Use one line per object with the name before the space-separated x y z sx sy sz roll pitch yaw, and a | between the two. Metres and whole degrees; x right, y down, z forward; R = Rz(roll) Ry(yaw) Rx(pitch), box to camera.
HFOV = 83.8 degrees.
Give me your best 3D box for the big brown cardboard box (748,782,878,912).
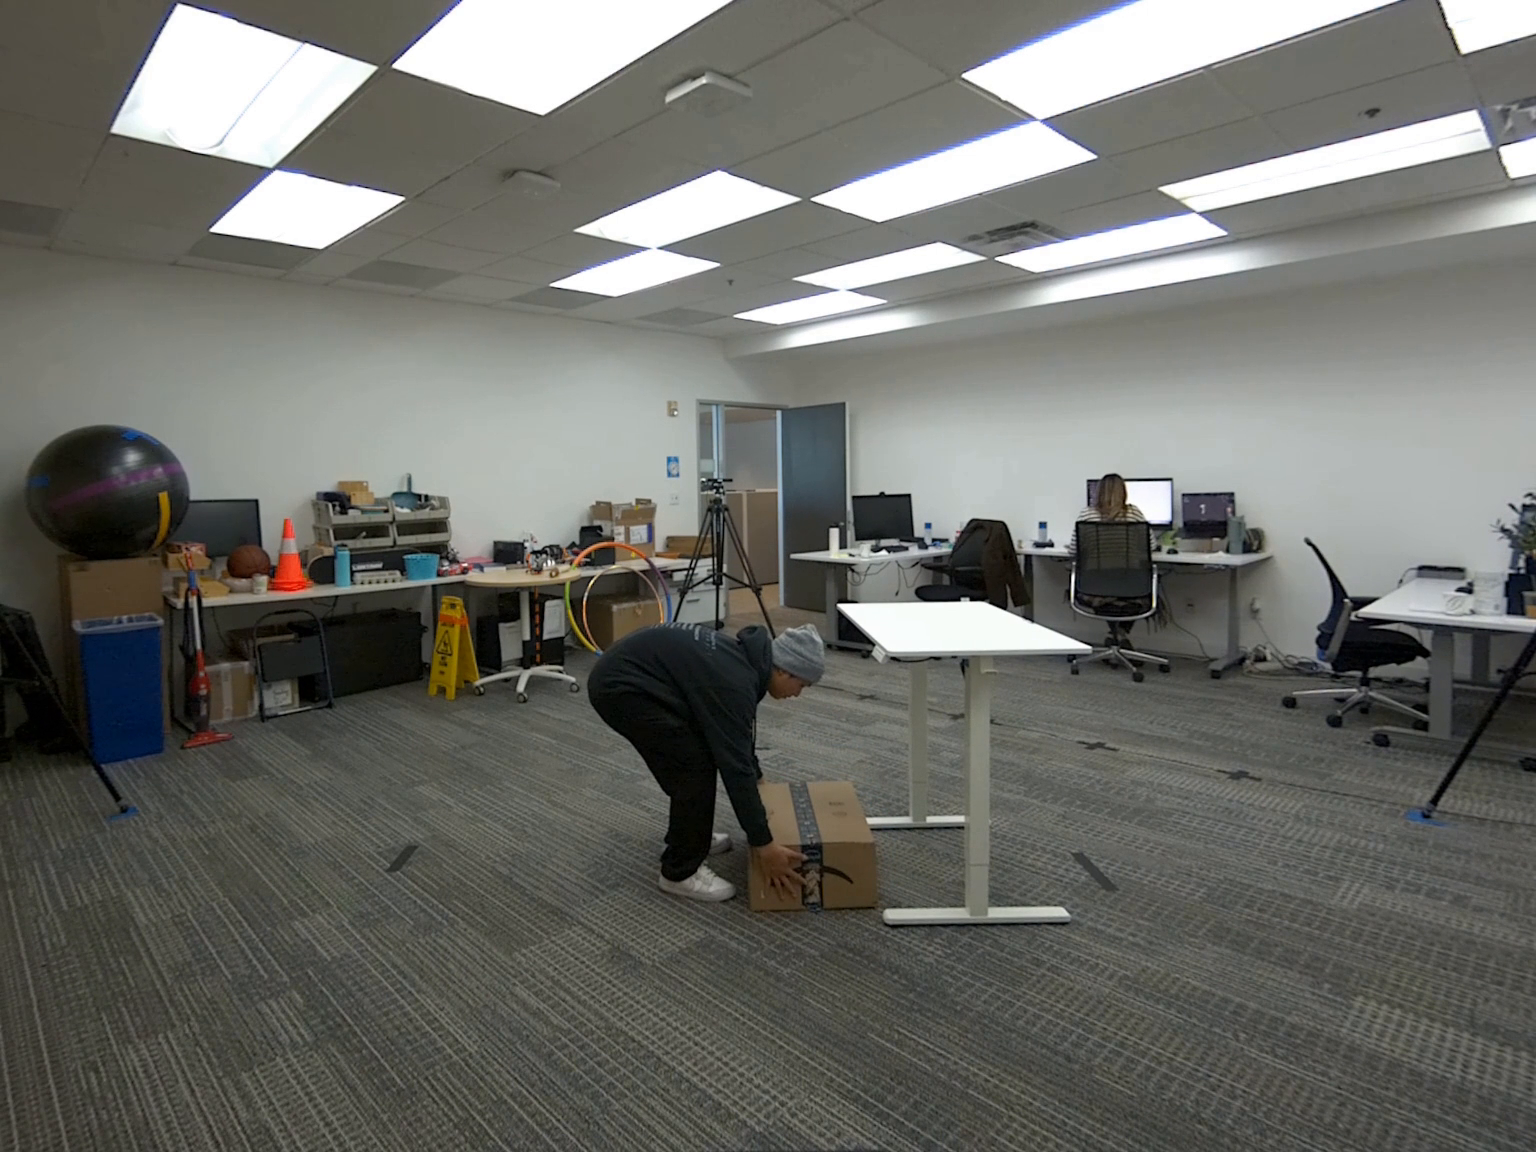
big brown cardboard box | 0.135 0.939 3.029 0.417 0.232 0.593 -2 7 -2
